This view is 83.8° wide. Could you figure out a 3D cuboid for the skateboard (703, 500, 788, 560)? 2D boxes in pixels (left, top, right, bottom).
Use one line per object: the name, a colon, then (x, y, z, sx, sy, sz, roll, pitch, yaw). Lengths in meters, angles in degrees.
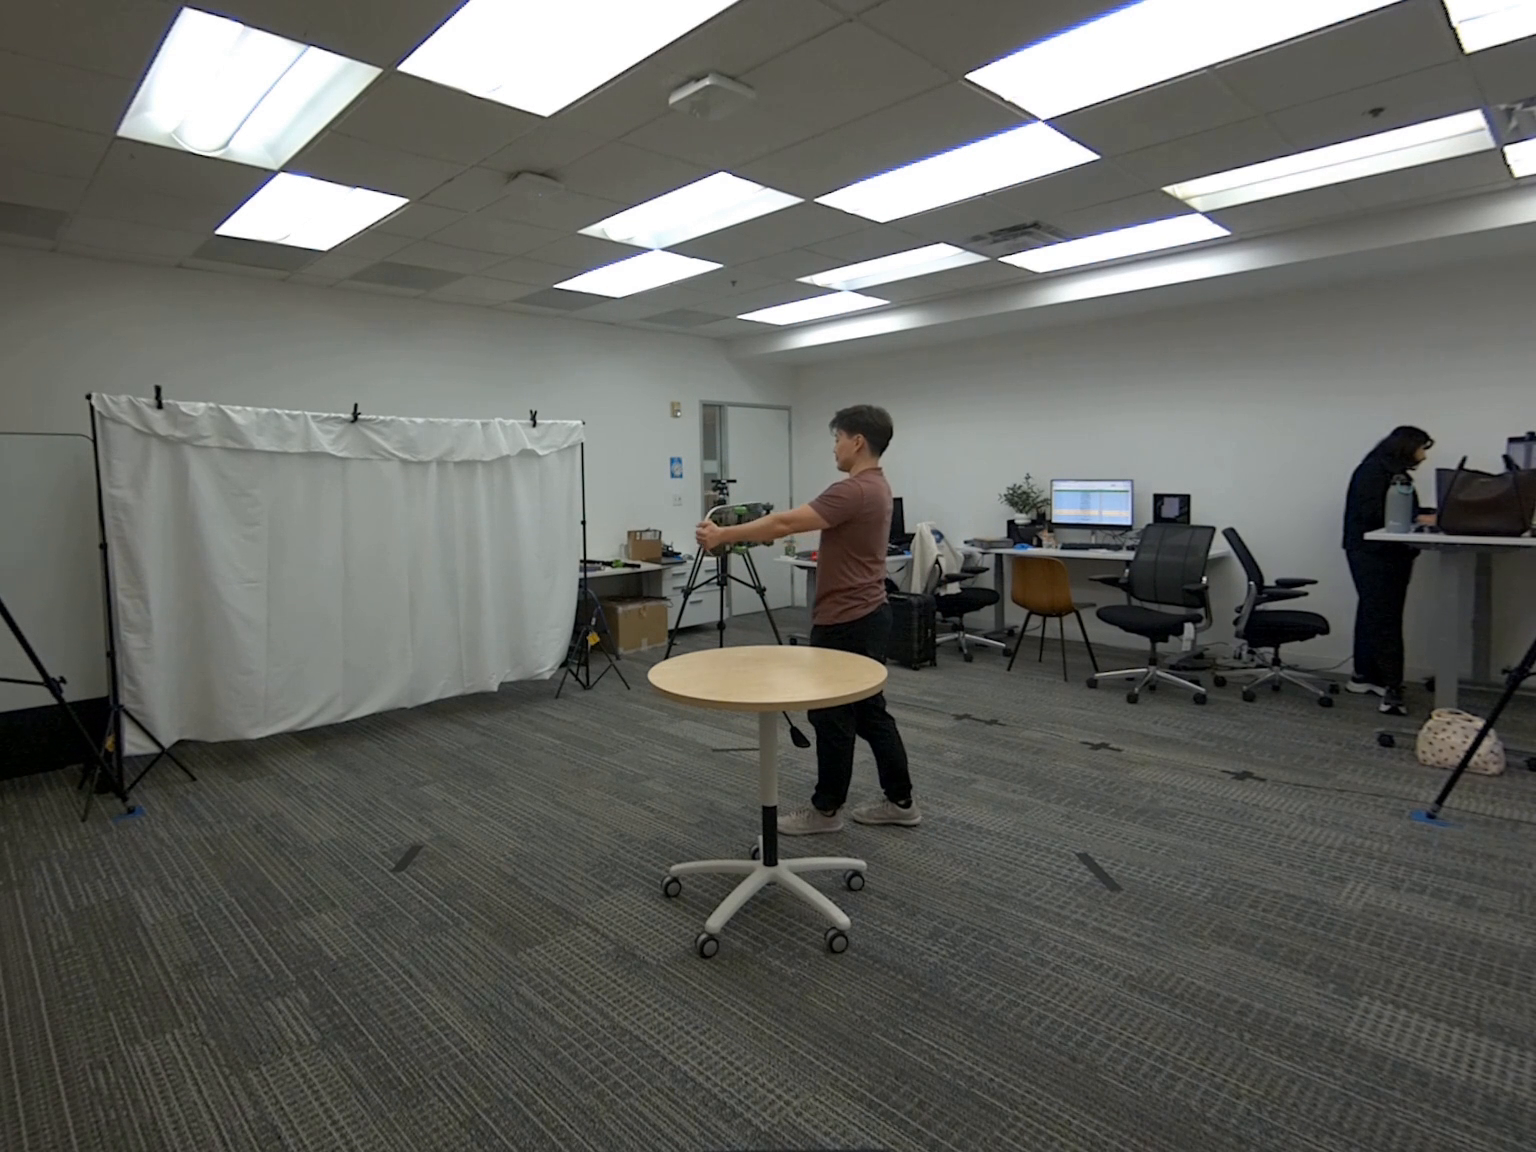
skateboard: (-0.079, -0.205, 3.530, 0.112, 0.192, 0.776, 0, 7, 16)
